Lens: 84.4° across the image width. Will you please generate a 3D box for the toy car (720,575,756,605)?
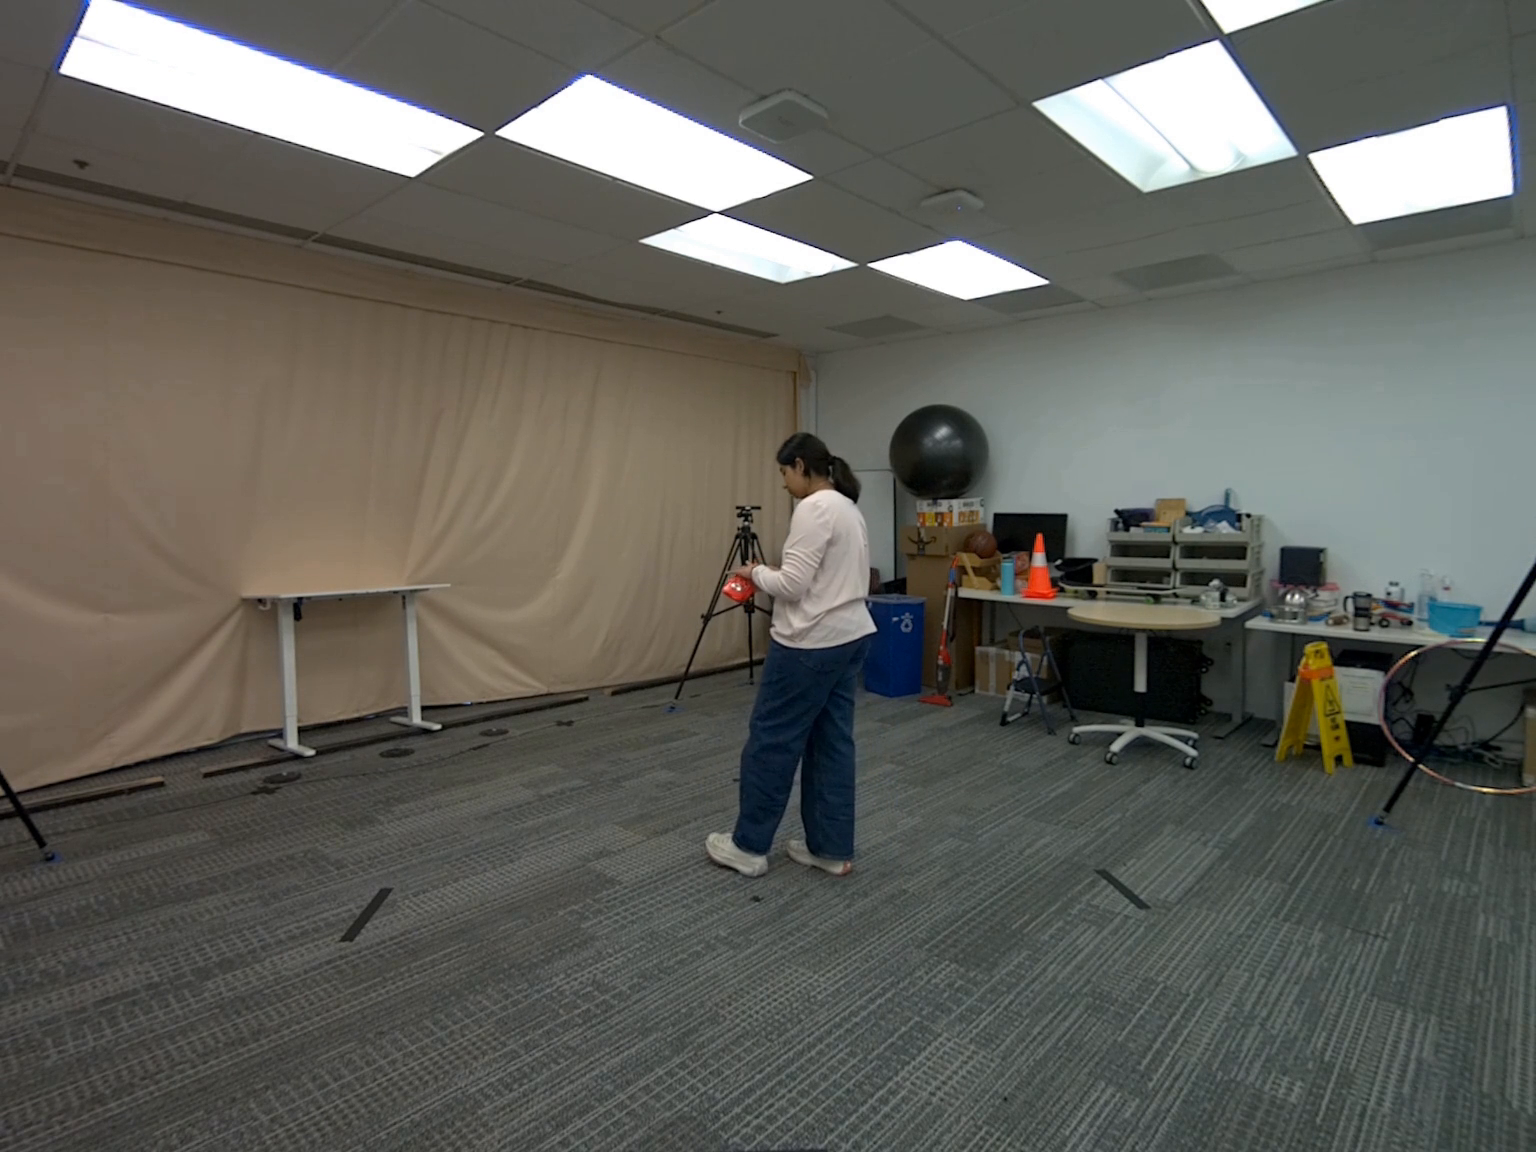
[{"bbox_3d":[-0.080,0.033,3.309,0.134,0.082,0.249,30,29,25],"label":"toy car"}]
